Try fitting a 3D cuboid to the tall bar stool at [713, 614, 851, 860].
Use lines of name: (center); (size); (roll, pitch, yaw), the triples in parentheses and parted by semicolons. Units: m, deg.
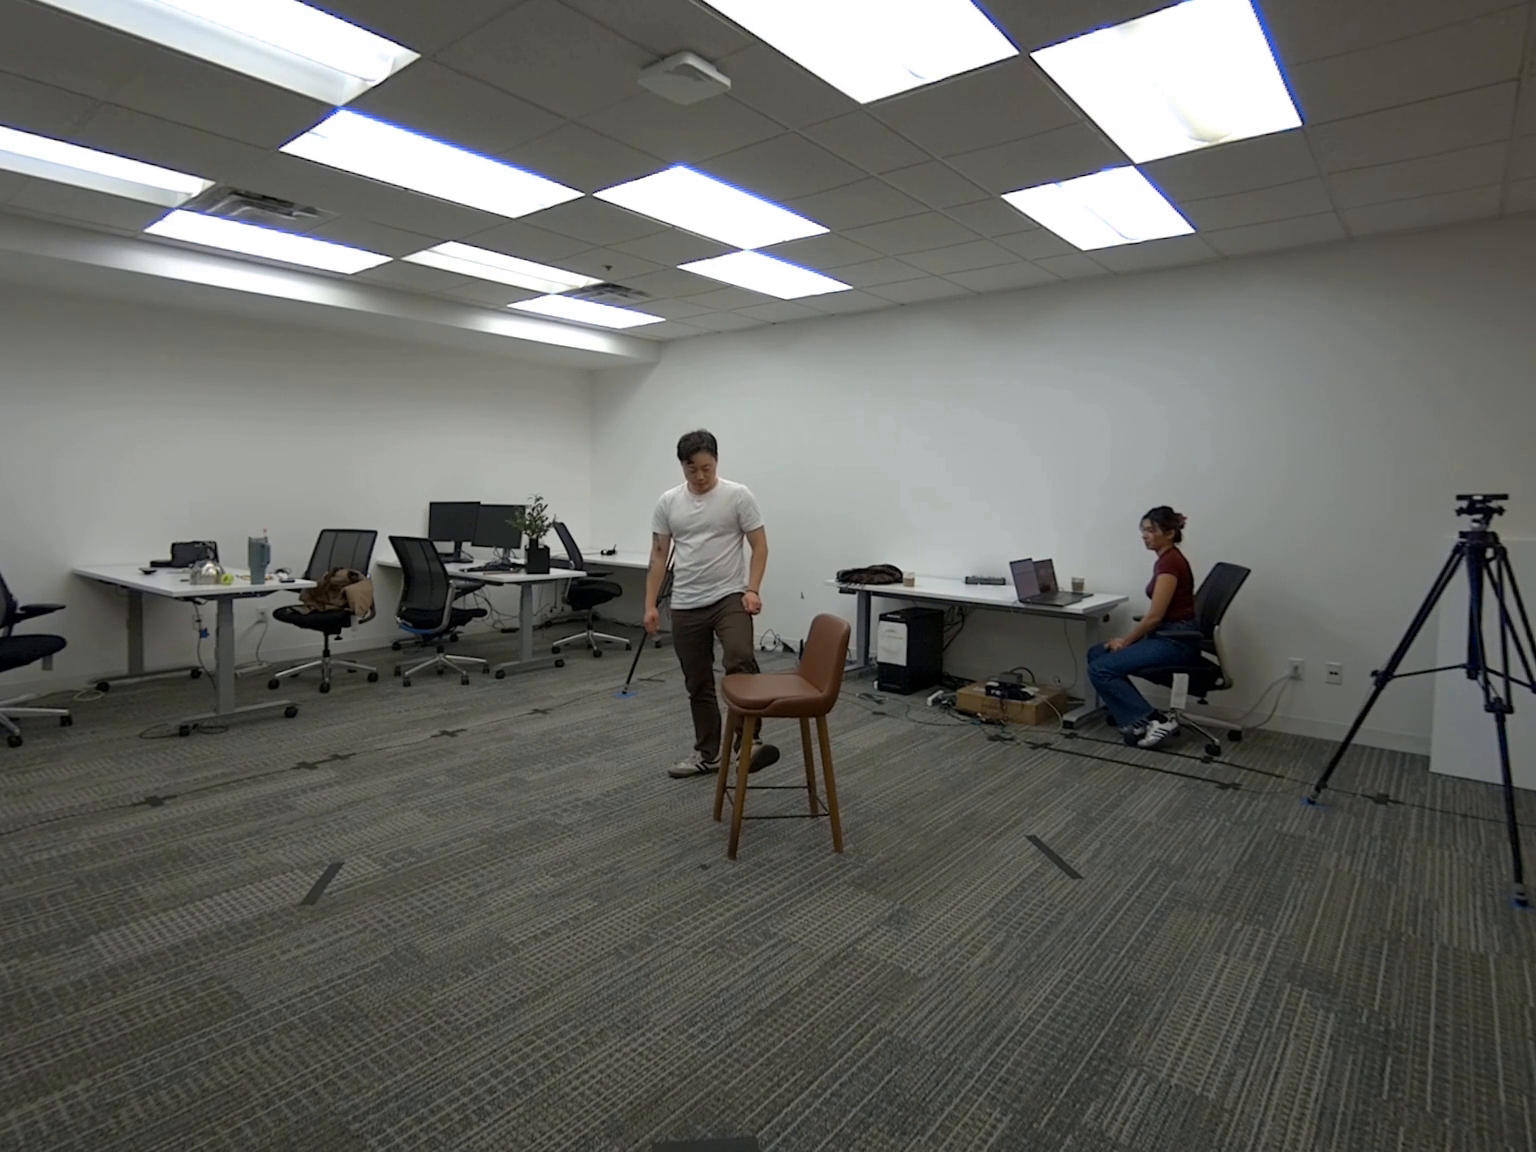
tall bar stool: (0.042, 0.606, 3.388); (0.462, 0.888, 0.463); (2, 3, -11)
